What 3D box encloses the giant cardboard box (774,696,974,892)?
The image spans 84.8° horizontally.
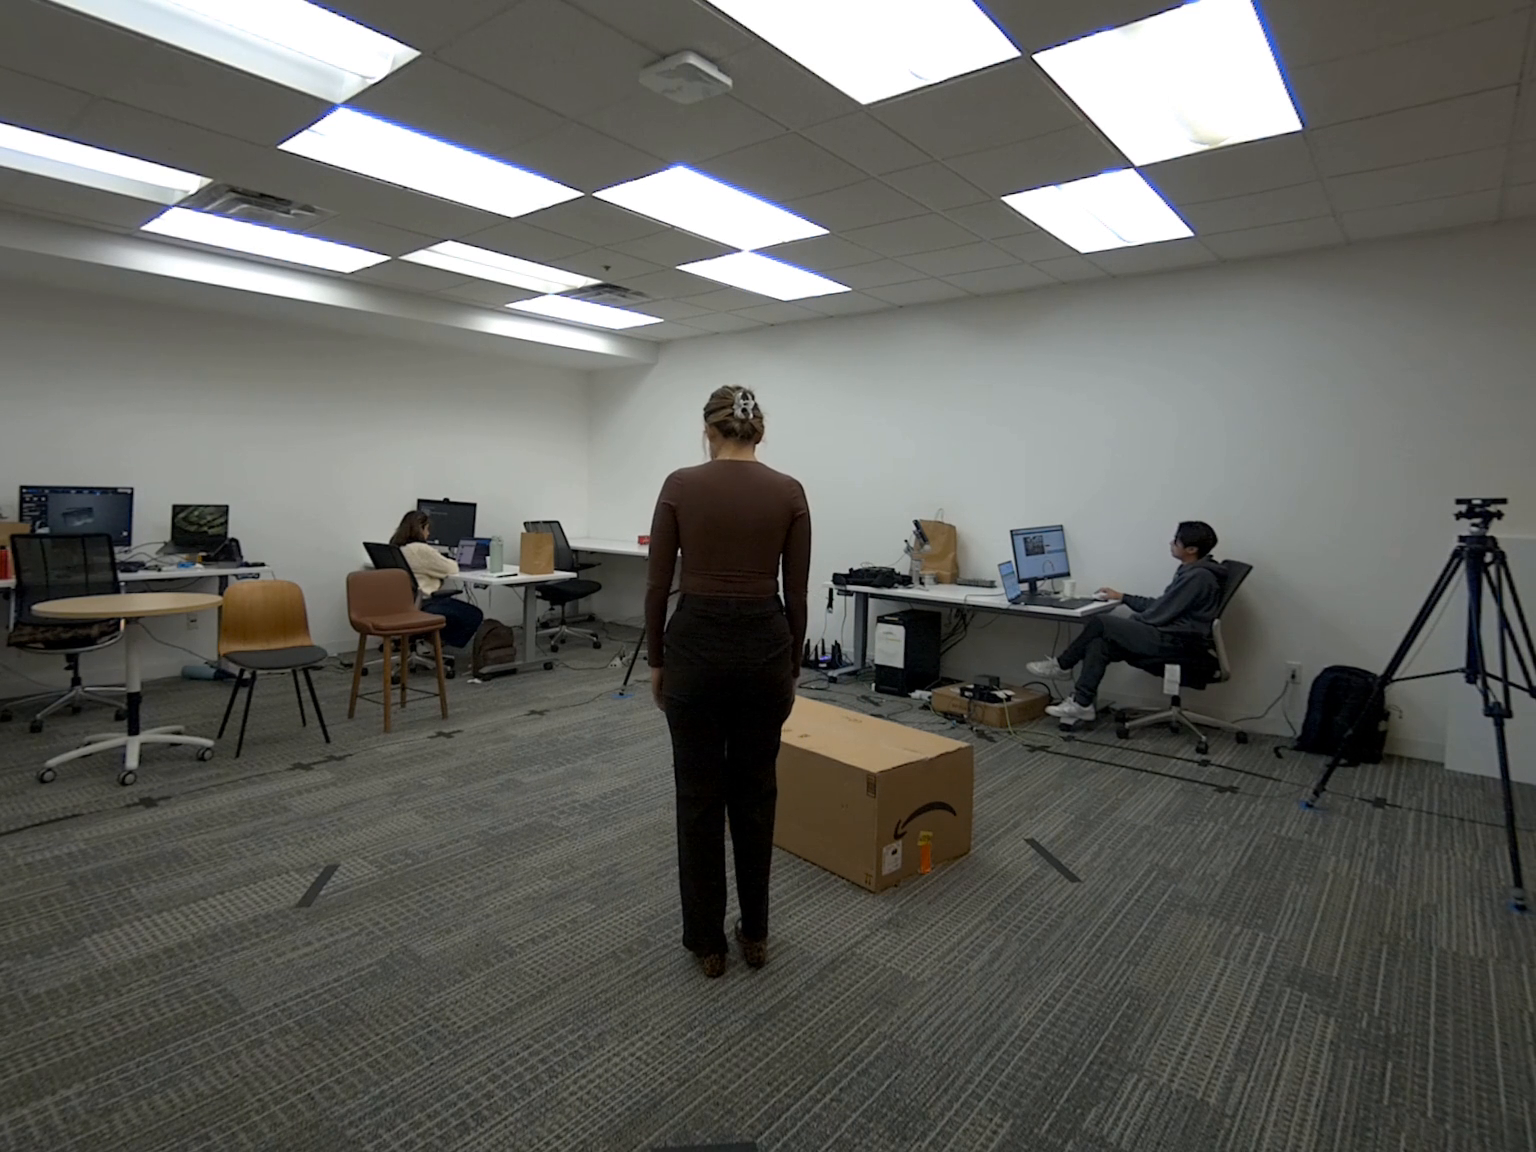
[{"bbox_3d":[0.233,0.829,3.503,0.566,0.445,1.063,-2,6,-41],"label":"giant cardboard box"}]
